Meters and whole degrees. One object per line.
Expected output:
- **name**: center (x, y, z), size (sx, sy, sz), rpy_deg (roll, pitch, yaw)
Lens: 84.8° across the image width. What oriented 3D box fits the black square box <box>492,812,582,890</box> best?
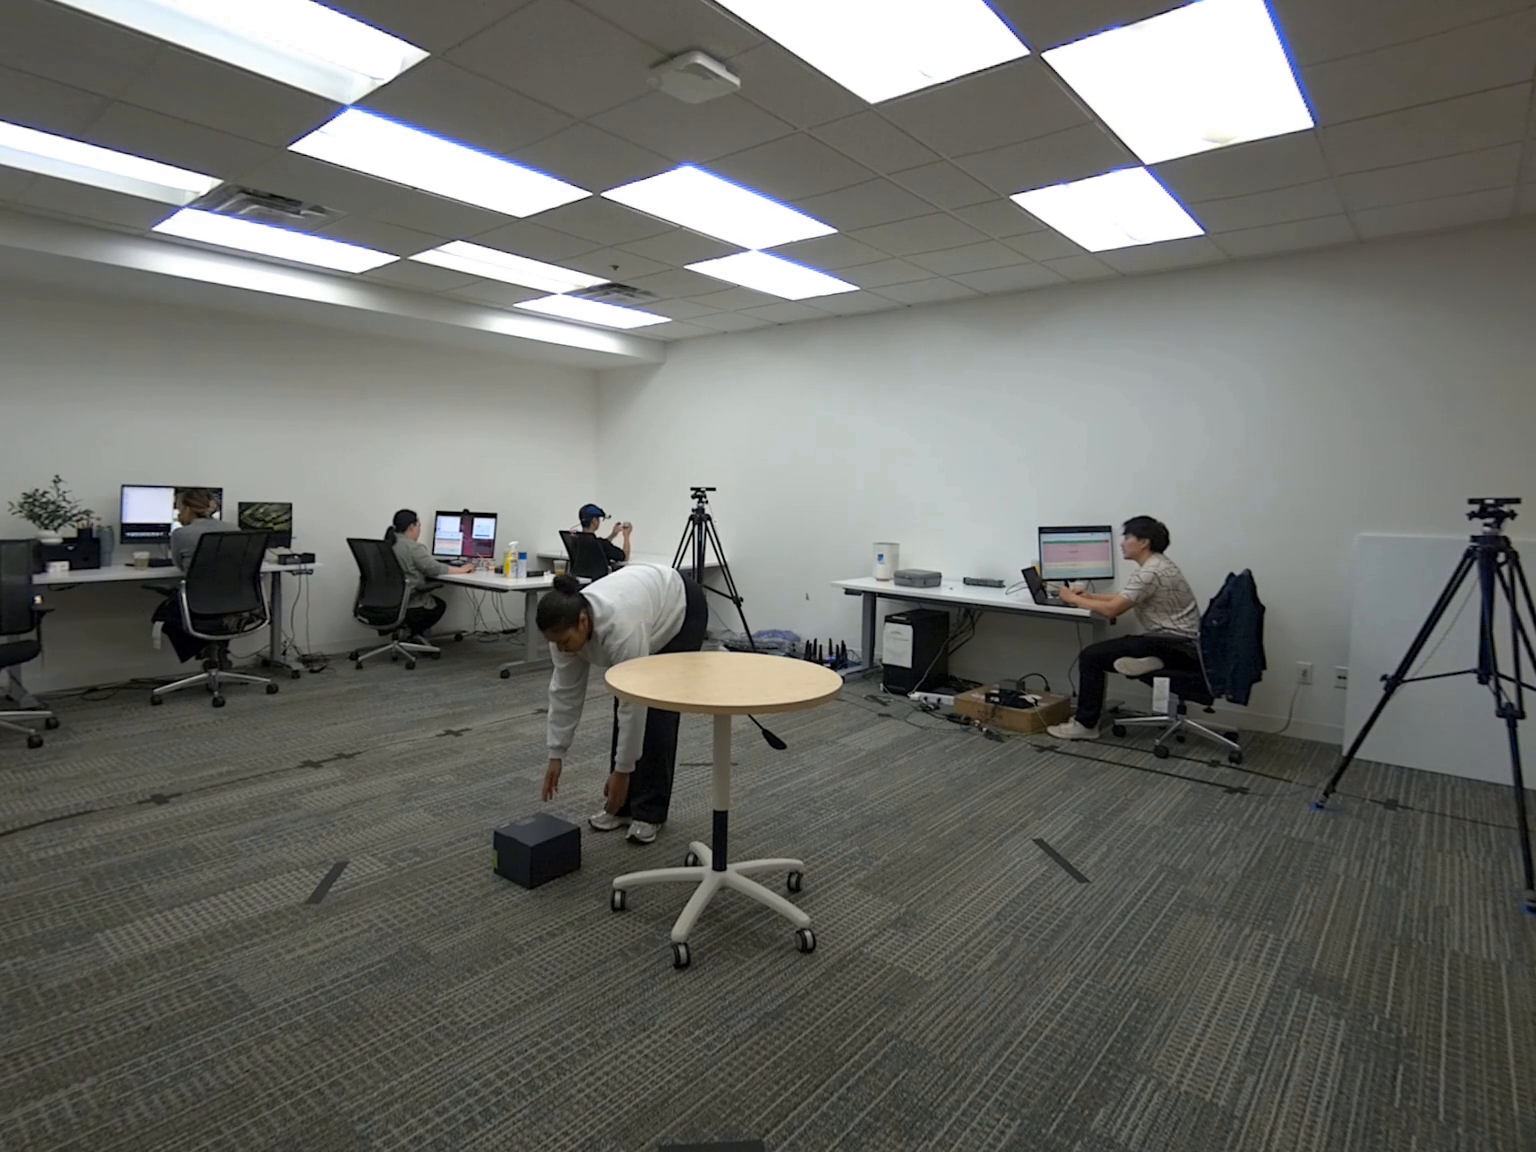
- **black square box**: center (-0.842, 0.976, 3.056), size (0.224, 0.155, 0.221), rpy_deg (4, 6, 37)
